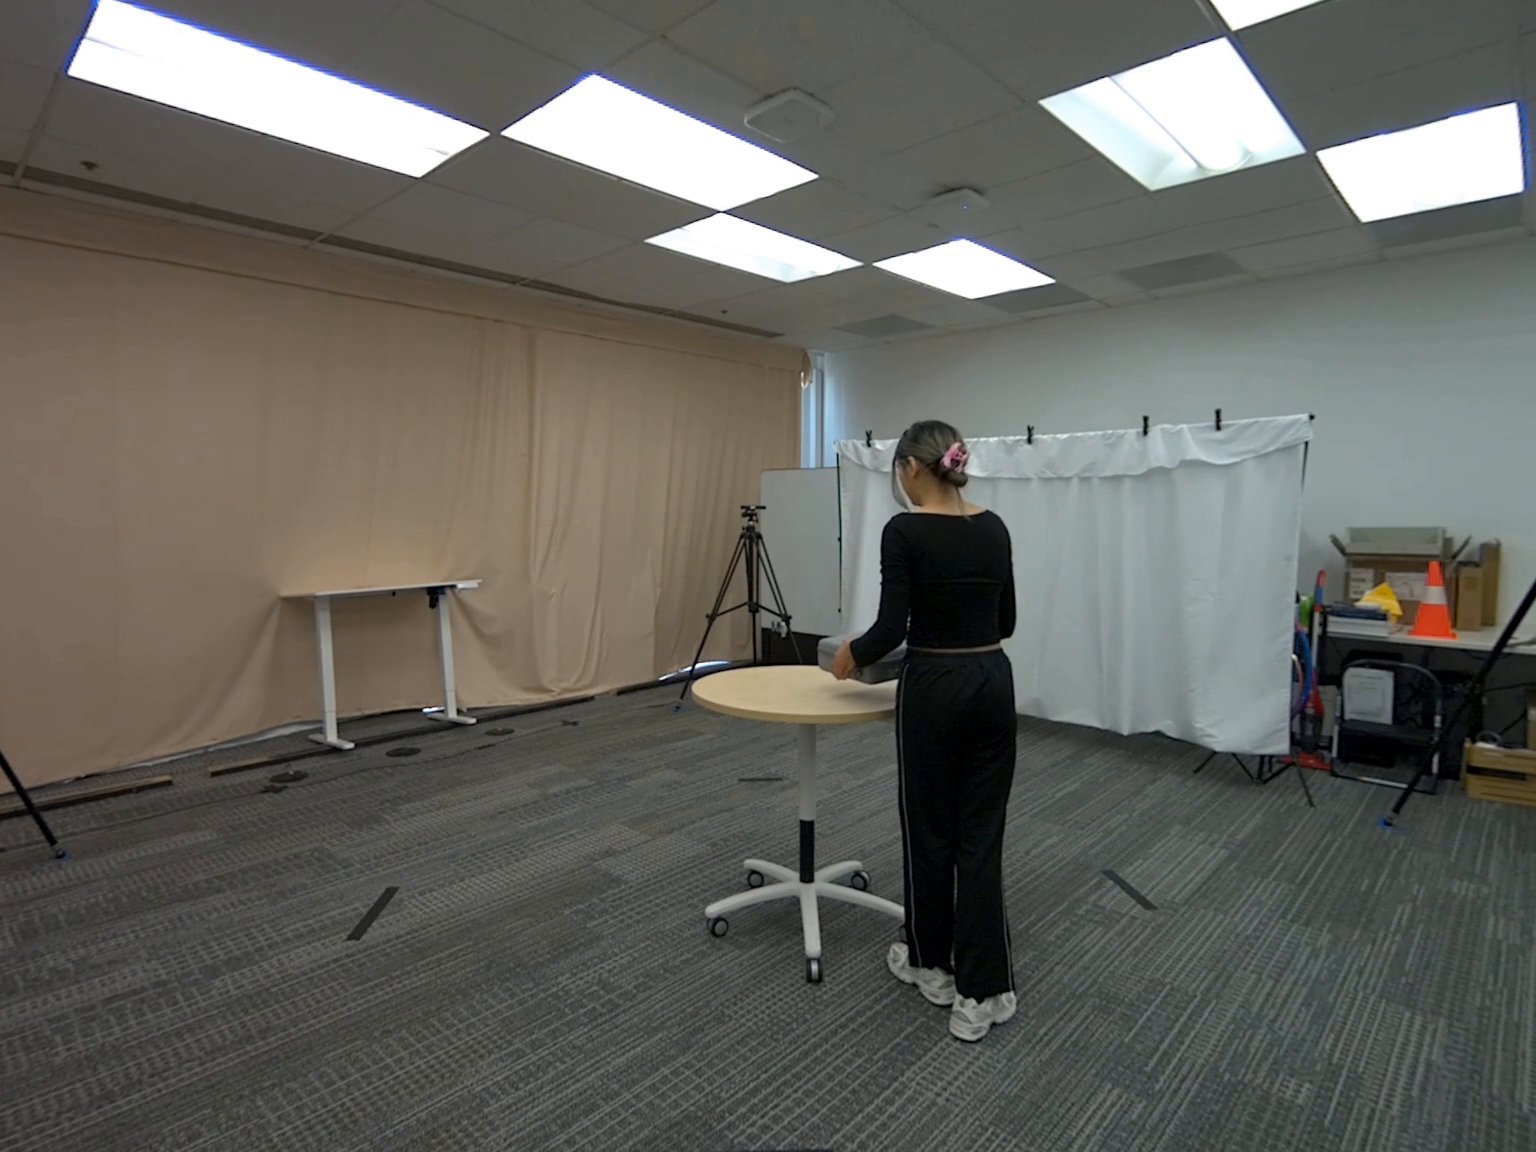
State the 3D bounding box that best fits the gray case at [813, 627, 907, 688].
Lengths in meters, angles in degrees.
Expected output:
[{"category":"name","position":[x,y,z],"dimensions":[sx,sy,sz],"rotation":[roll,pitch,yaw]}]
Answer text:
[{"category":"gray case","position":[0.323,0.244,2.634],"dimensions":[0.250,0.104,0.269],"rotation":[-7,9,-34]}]
